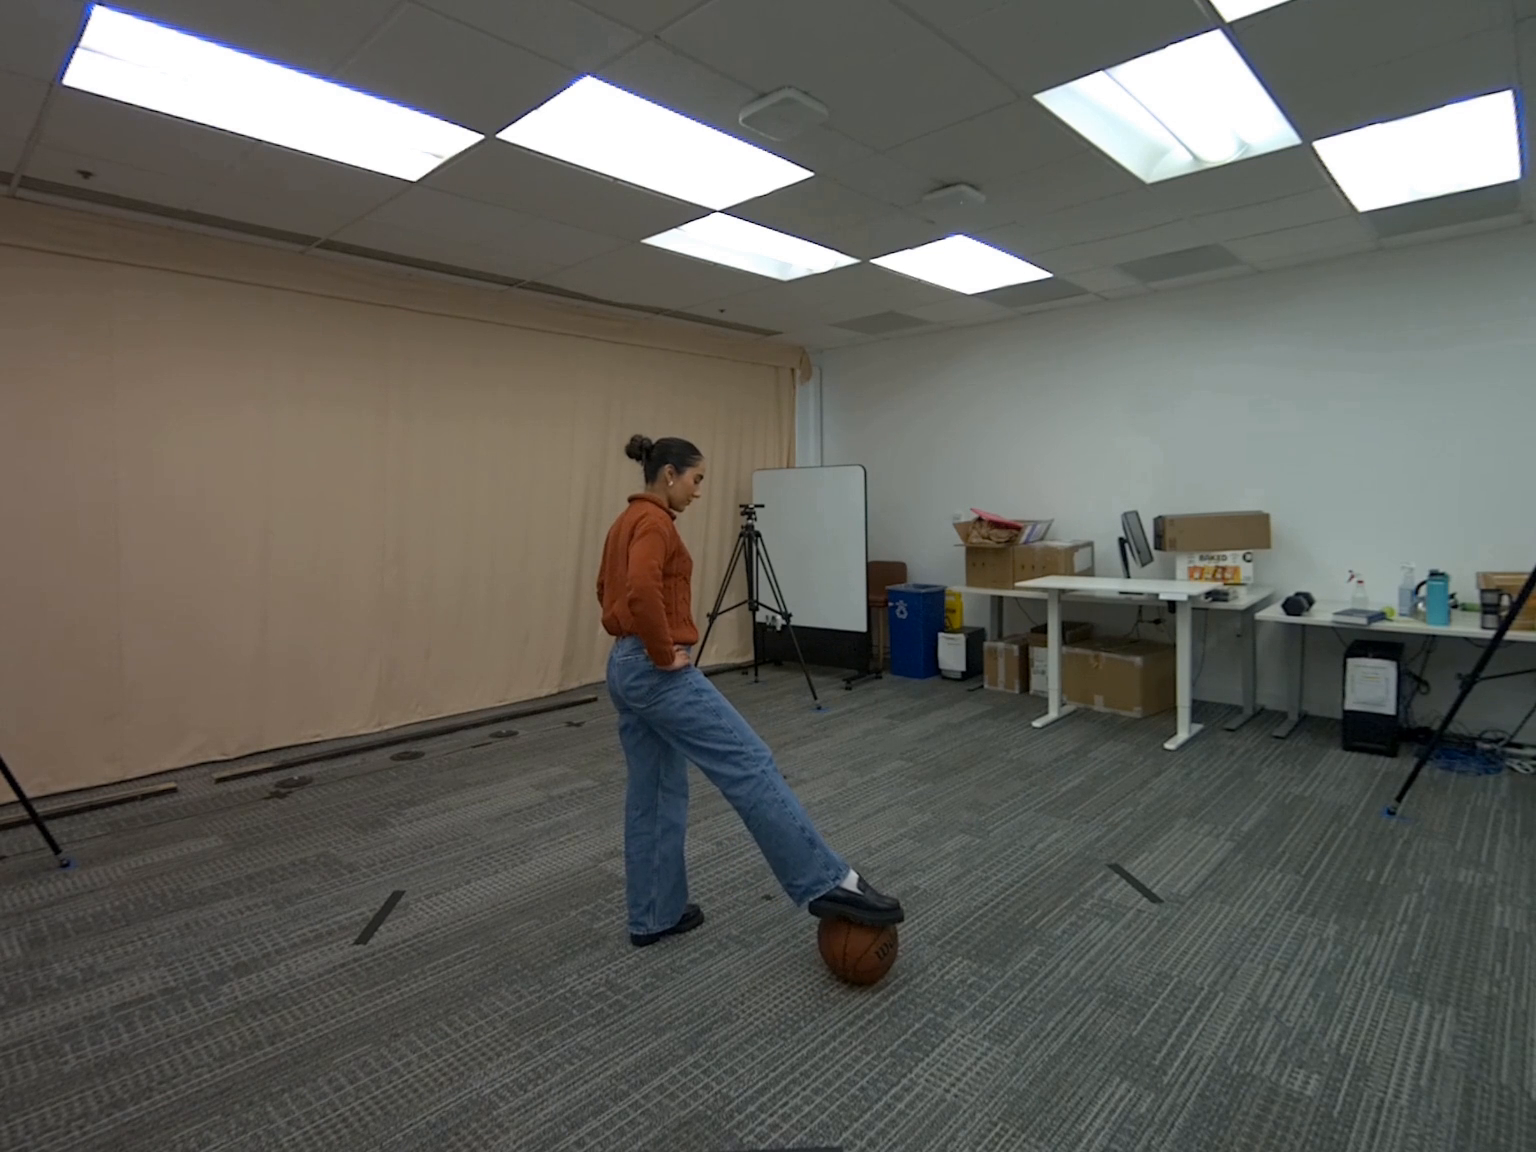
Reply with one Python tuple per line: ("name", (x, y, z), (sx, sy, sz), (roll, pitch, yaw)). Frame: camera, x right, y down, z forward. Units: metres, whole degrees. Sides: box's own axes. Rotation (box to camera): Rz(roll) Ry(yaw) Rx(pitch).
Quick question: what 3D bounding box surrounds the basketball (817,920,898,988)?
("basketball", (0.269, 1.065, 2.475), (0.236, 0.235, 0.237), (-1, 4, -2))
